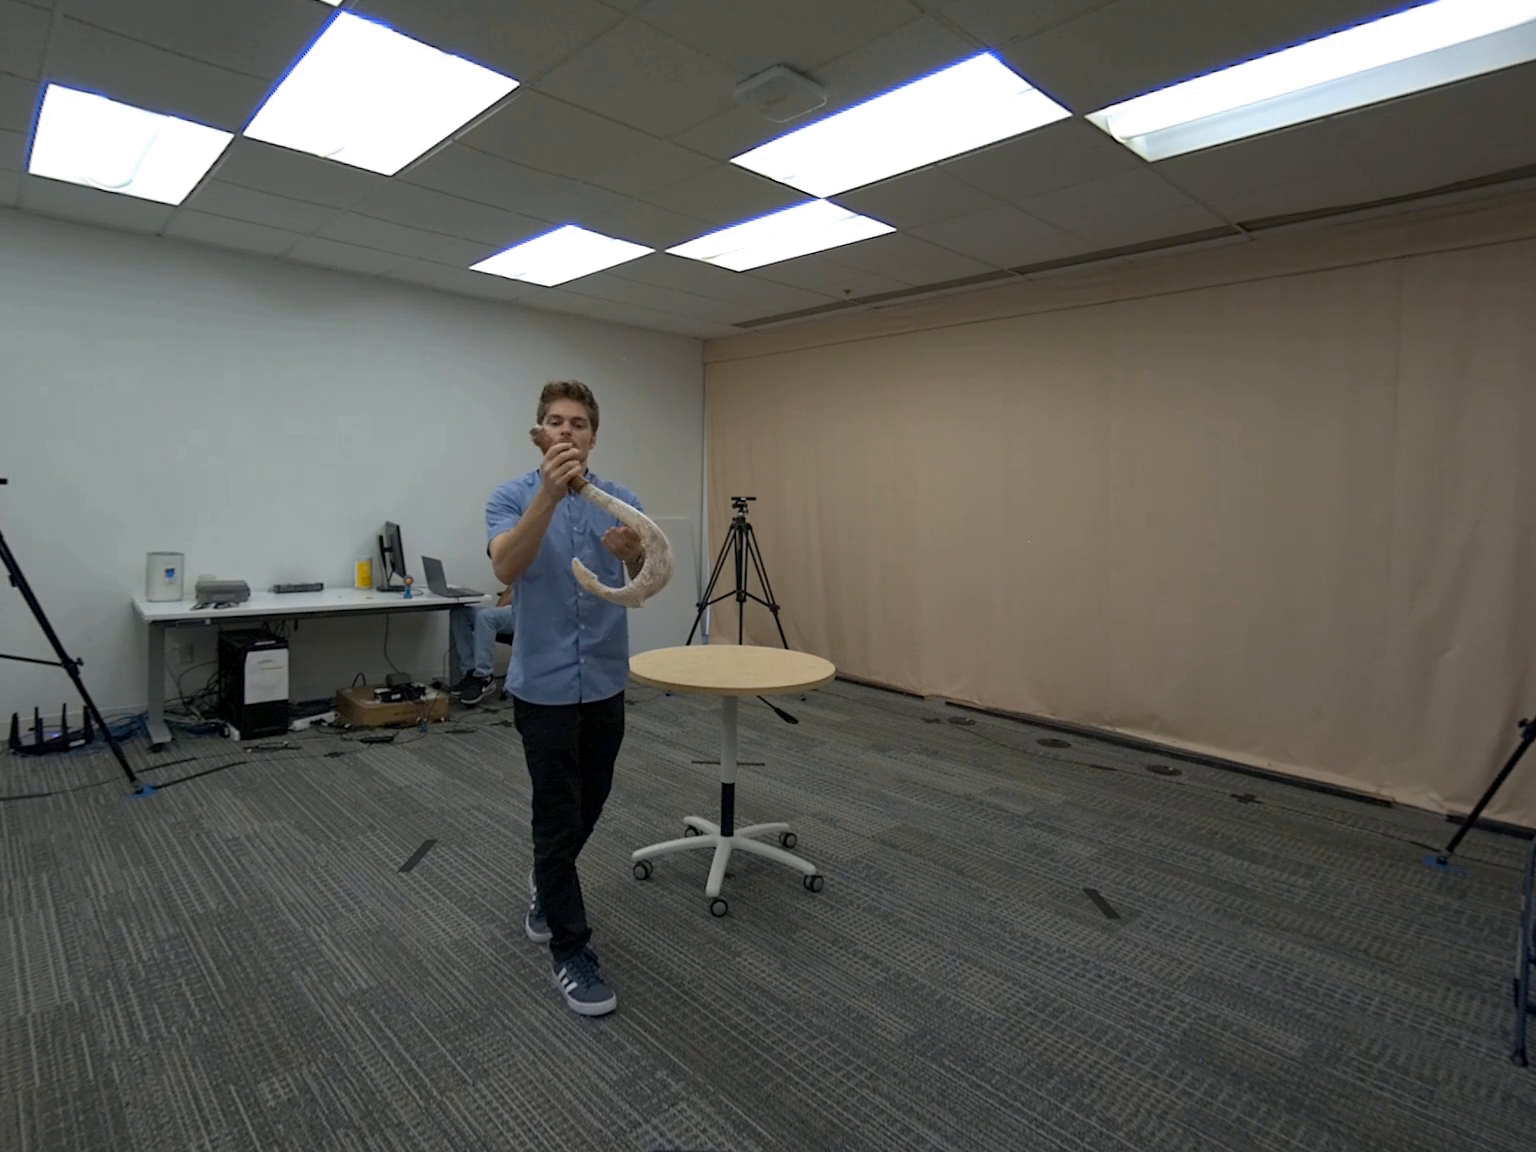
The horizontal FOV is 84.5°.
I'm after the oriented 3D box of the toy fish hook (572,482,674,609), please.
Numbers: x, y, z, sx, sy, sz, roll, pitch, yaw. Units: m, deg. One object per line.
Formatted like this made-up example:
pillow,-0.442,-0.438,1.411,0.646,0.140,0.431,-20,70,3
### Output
toy fish hook,-0.453,-0.136,1.989,0.224,0.512,0.048,-41,-10,-9
